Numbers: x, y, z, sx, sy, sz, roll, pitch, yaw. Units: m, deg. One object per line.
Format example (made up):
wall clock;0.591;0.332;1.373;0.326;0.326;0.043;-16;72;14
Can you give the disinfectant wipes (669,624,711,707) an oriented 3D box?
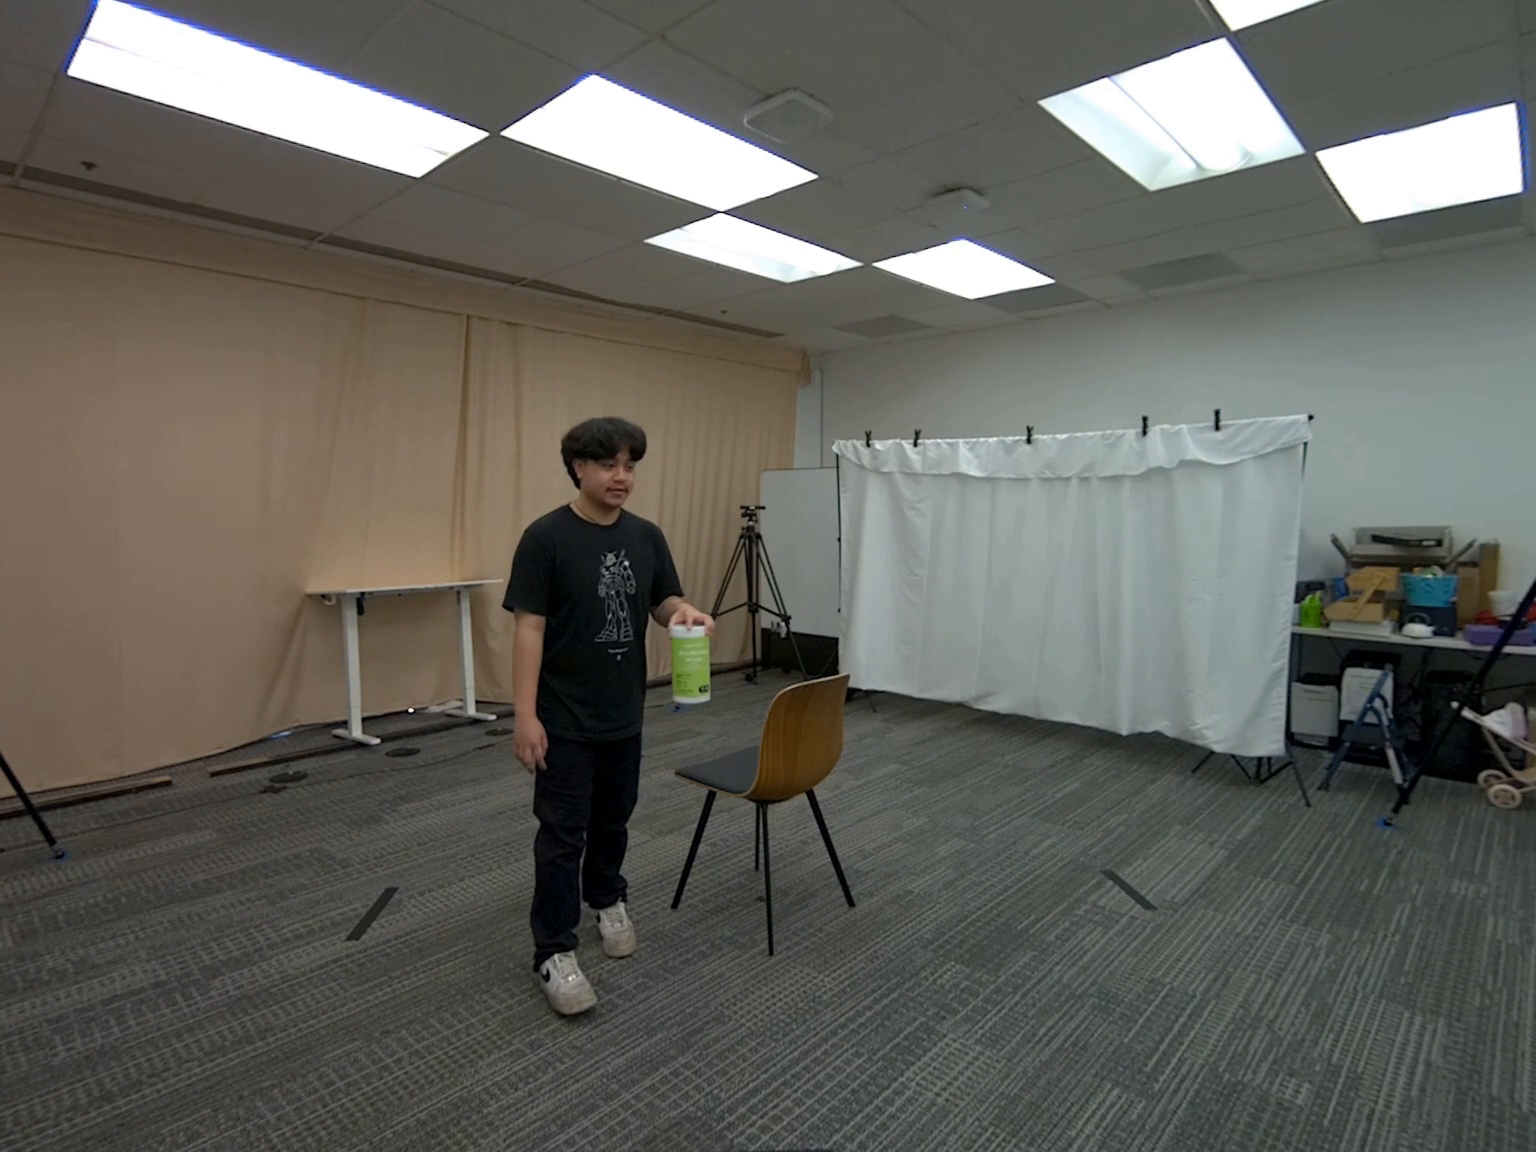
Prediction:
disinfectant wipes;-0.218;0.250;2.368;0.118;0.217;0.118;-2;1;-2
